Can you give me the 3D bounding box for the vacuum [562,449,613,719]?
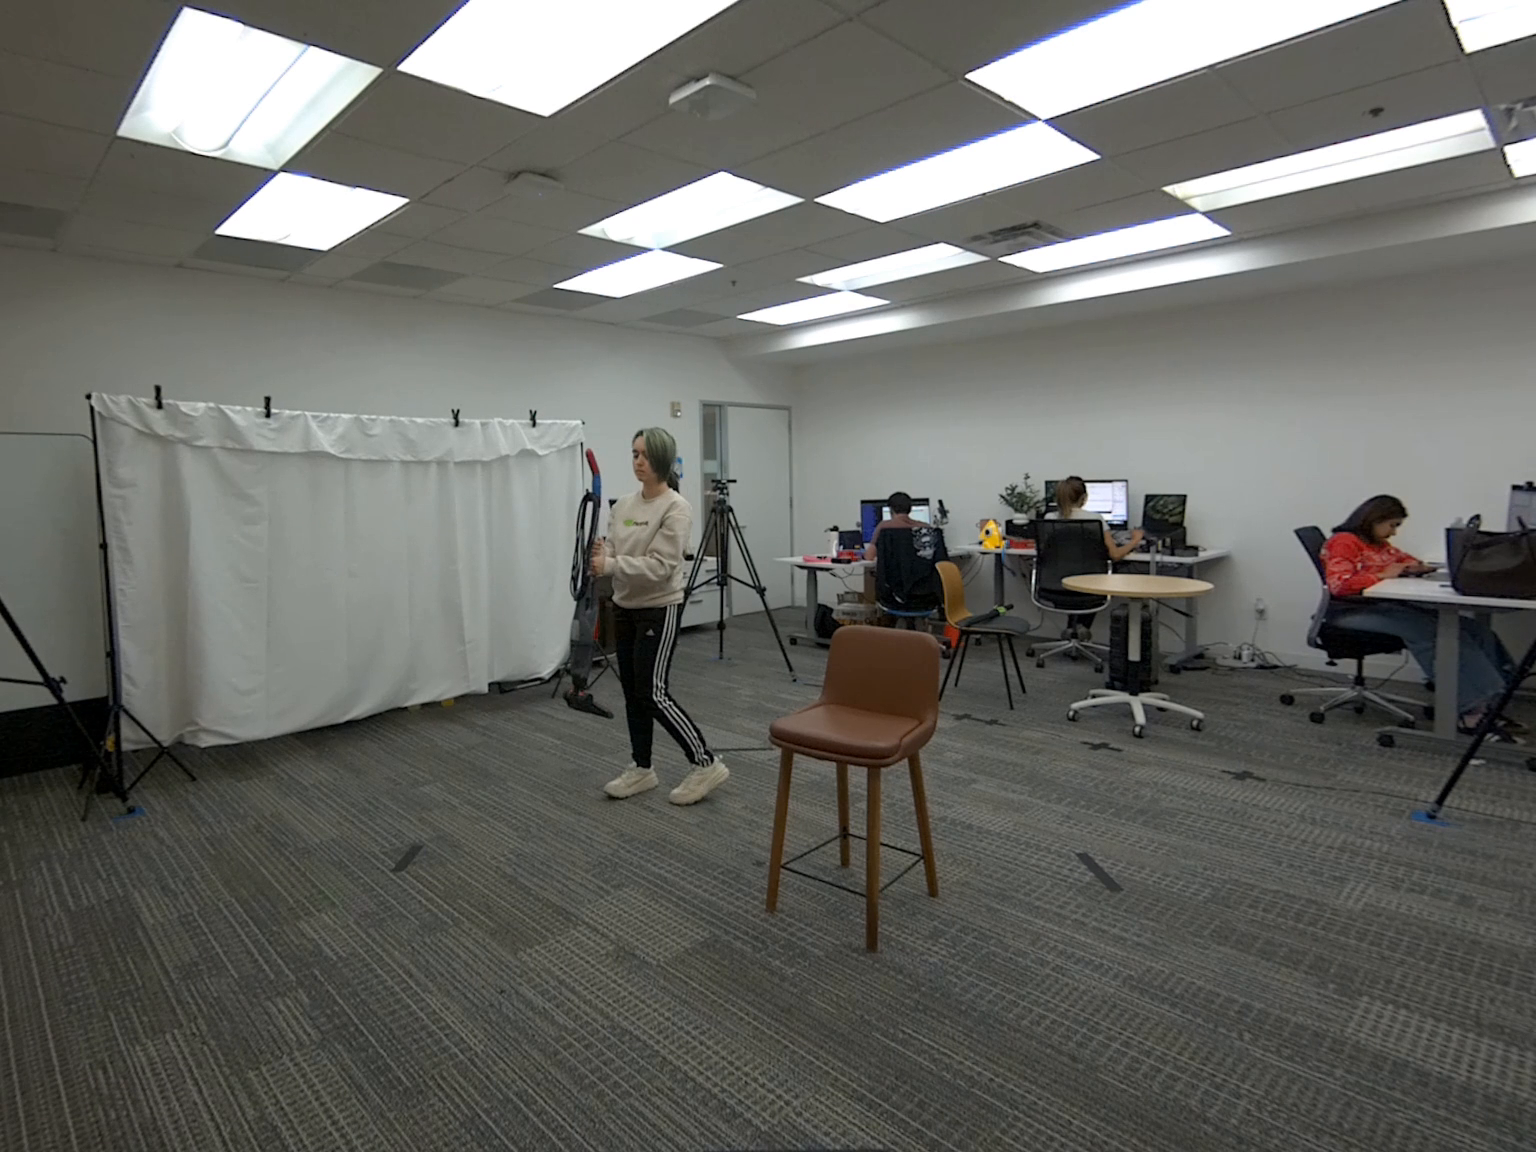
[{"bbox_3d":[-0.756,0.008,3.536,0.260,1.046,0.140,2,3,35],"label":"vacuum"}]
